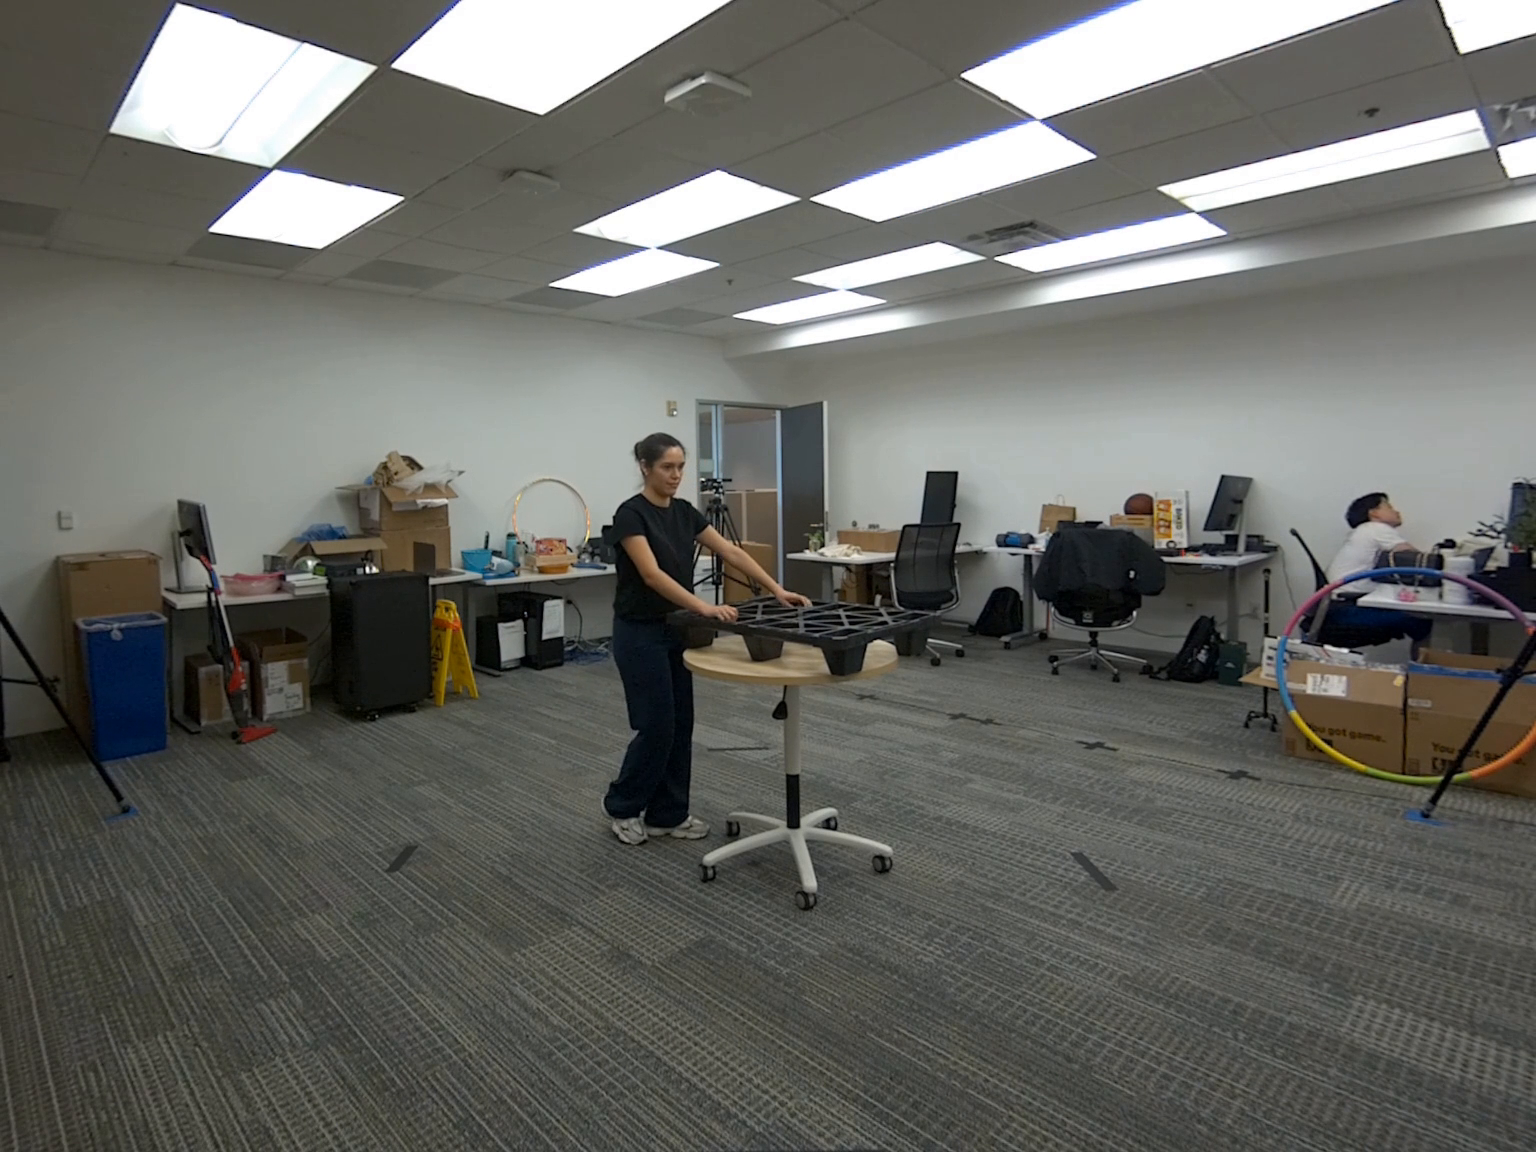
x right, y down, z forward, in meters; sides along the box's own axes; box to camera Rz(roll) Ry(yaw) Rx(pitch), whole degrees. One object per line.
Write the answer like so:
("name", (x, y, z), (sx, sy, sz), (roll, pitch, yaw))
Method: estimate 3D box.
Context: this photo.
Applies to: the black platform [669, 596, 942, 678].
("black platform", (0.119, 0.199, 3.071), (0.830, 0.143, 0.589), (5, 9, 44))
